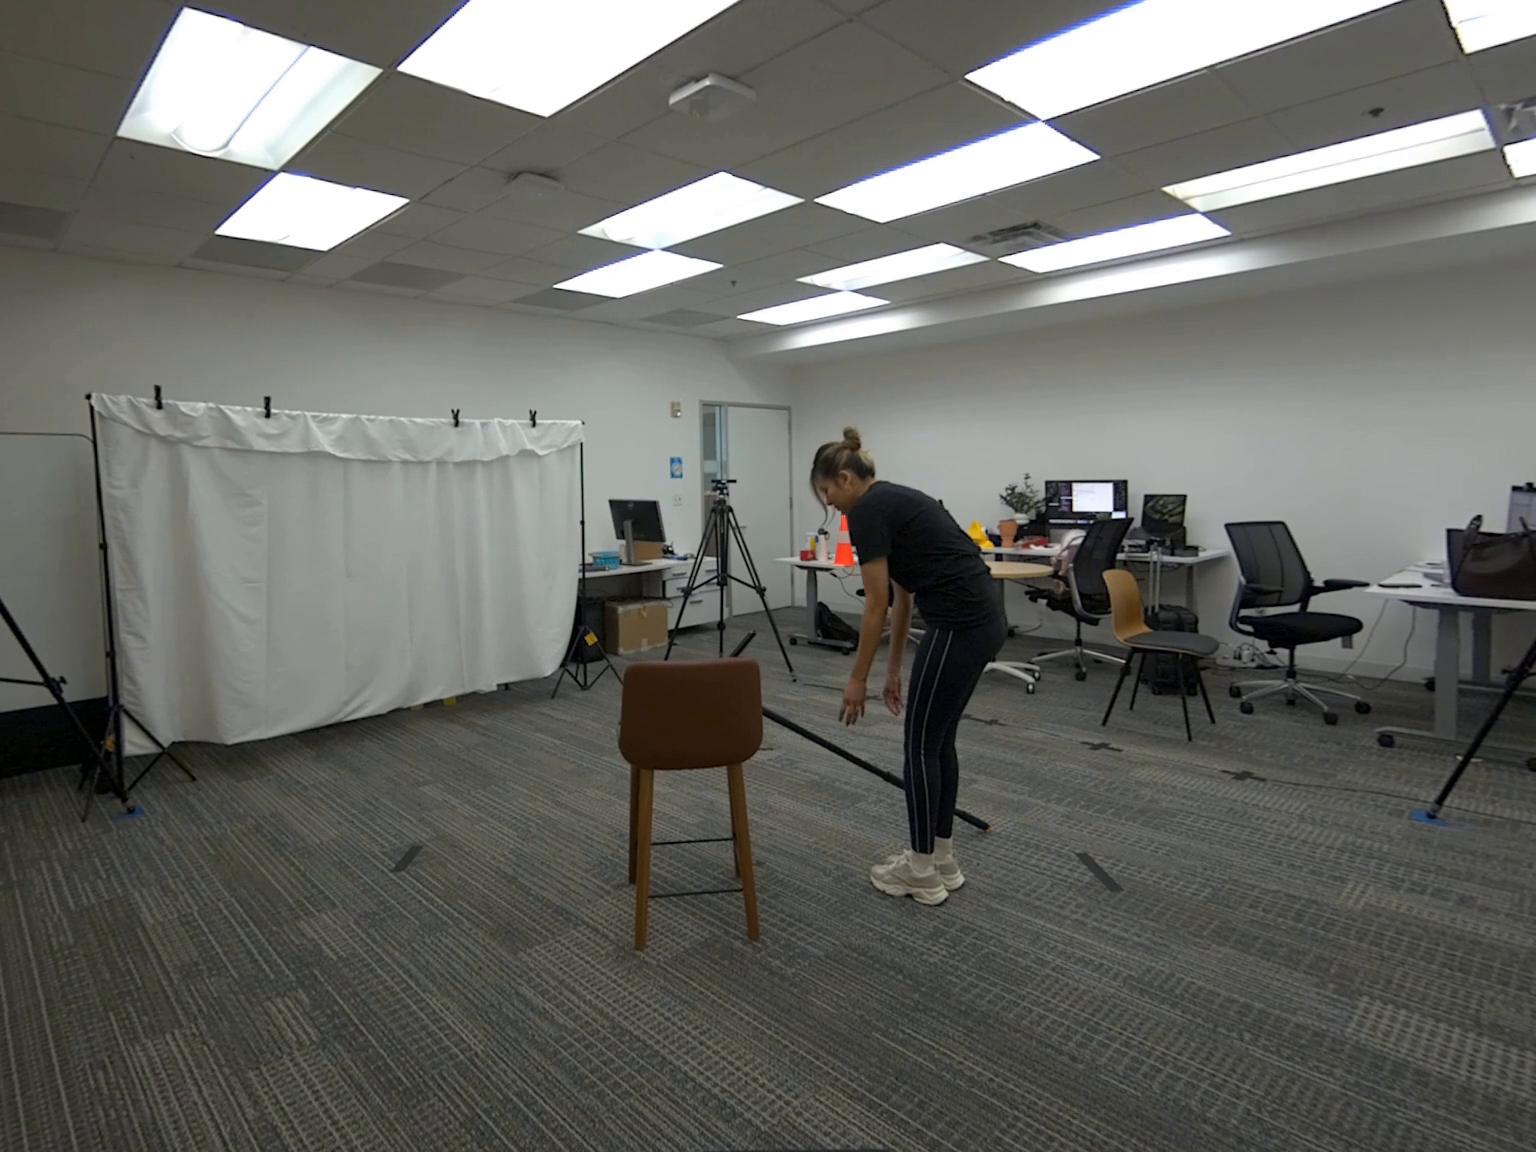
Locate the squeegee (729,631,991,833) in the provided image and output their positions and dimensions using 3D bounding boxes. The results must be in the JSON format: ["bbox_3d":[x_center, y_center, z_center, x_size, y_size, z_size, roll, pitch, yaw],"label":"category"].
[{"bbox_3d":[0.323,0.643,2.986,1.484,0.437,0.055,33,7,-32],"label":"squeegee"}]
